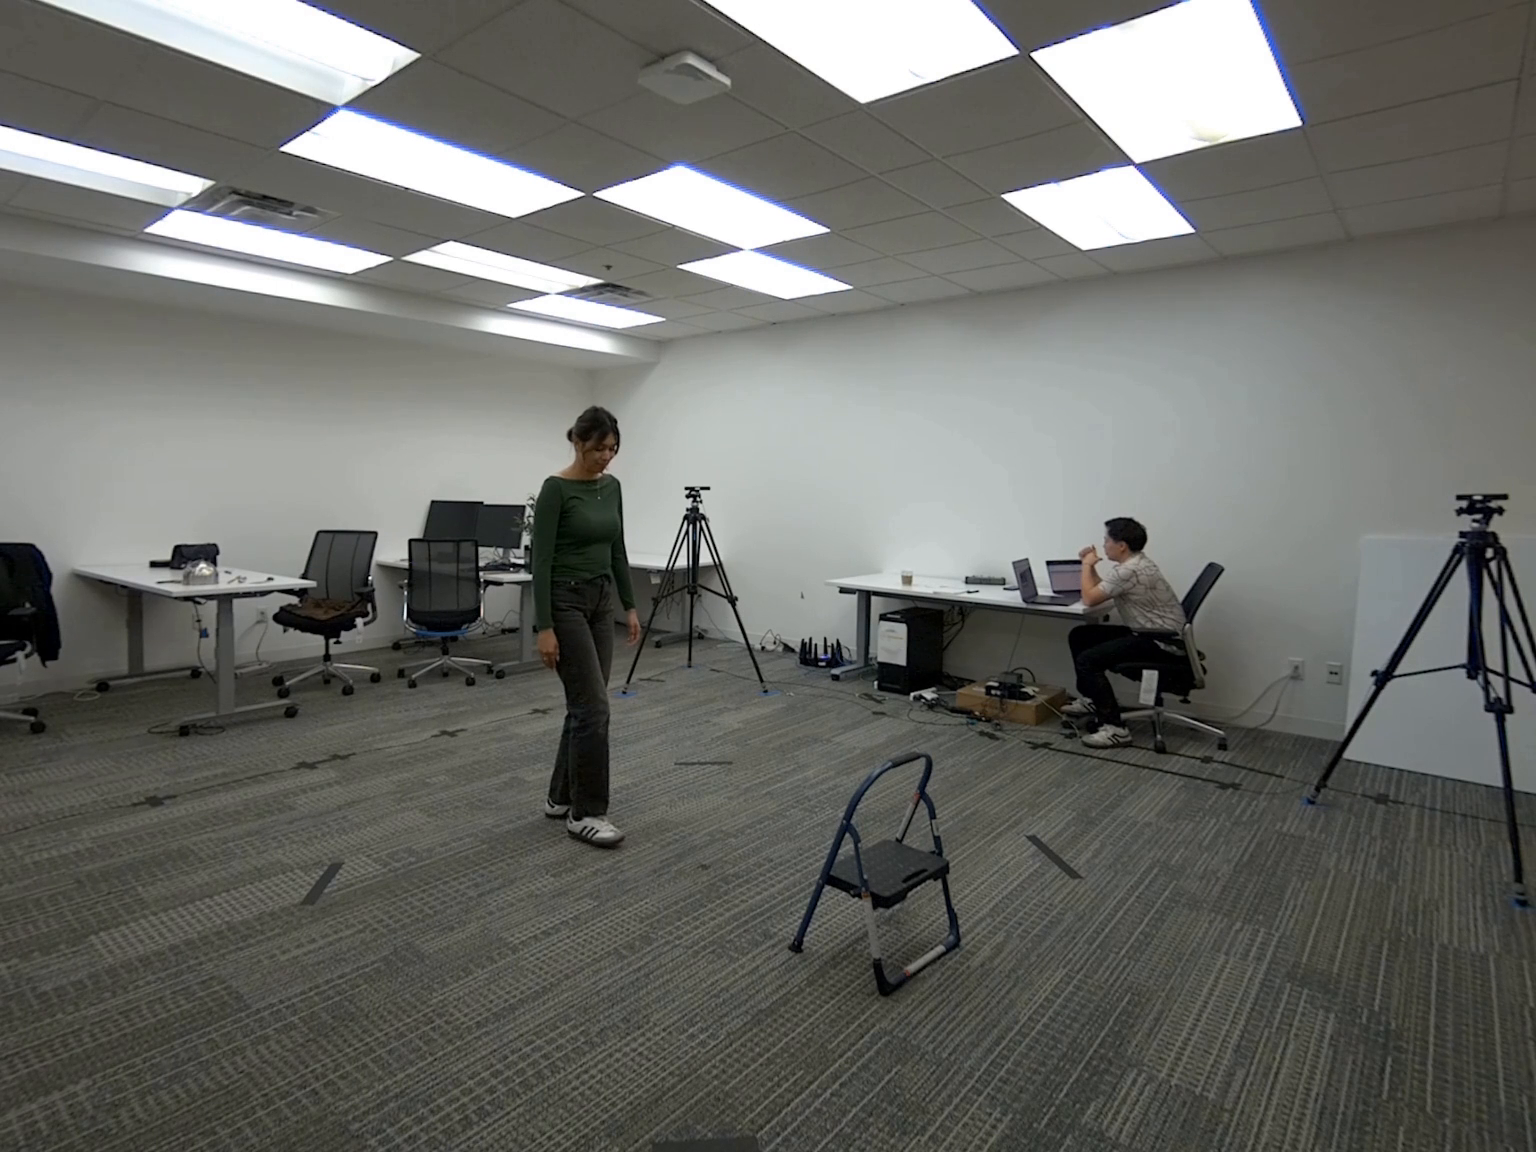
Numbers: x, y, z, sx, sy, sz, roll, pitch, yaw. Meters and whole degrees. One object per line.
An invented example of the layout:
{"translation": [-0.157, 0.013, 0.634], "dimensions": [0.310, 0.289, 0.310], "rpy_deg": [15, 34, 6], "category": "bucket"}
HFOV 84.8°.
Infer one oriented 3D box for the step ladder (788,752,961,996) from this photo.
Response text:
{"translation": [0.328, 0.824, 2.580], "dimensions": [0.361, 0.604, 0.418], "rpy_deg": [5, 6, 43], "category": "step ladder"}
